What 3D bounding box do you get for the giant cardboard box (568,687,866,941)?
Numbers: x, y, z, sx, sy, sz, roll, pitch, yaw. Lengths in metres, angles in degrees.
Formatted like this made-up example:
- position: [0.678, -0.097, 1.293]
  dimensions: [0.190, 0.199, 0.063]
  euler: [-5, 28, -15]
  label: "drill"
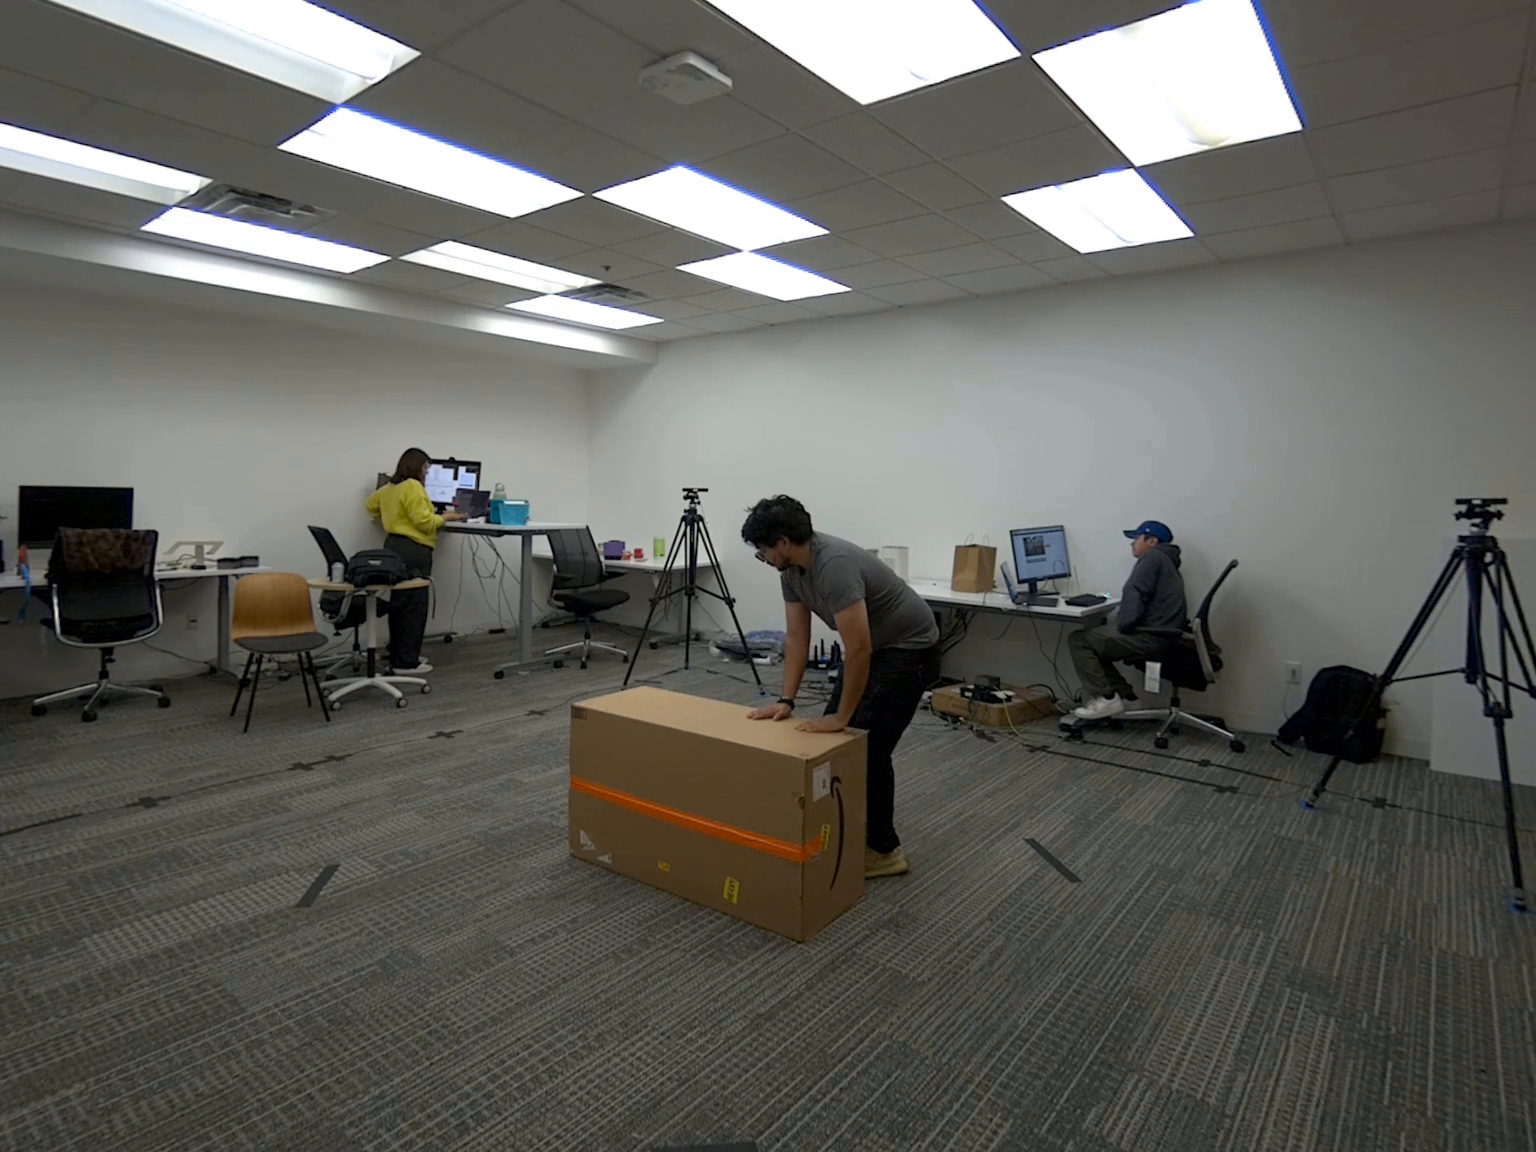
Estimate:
- position: [-0.216, 0.786, 3.057]
  dimensions: [1.059, 0.576, 0.414]
  euler: [5, 5, 35]
  label: "giant cardboard box"
